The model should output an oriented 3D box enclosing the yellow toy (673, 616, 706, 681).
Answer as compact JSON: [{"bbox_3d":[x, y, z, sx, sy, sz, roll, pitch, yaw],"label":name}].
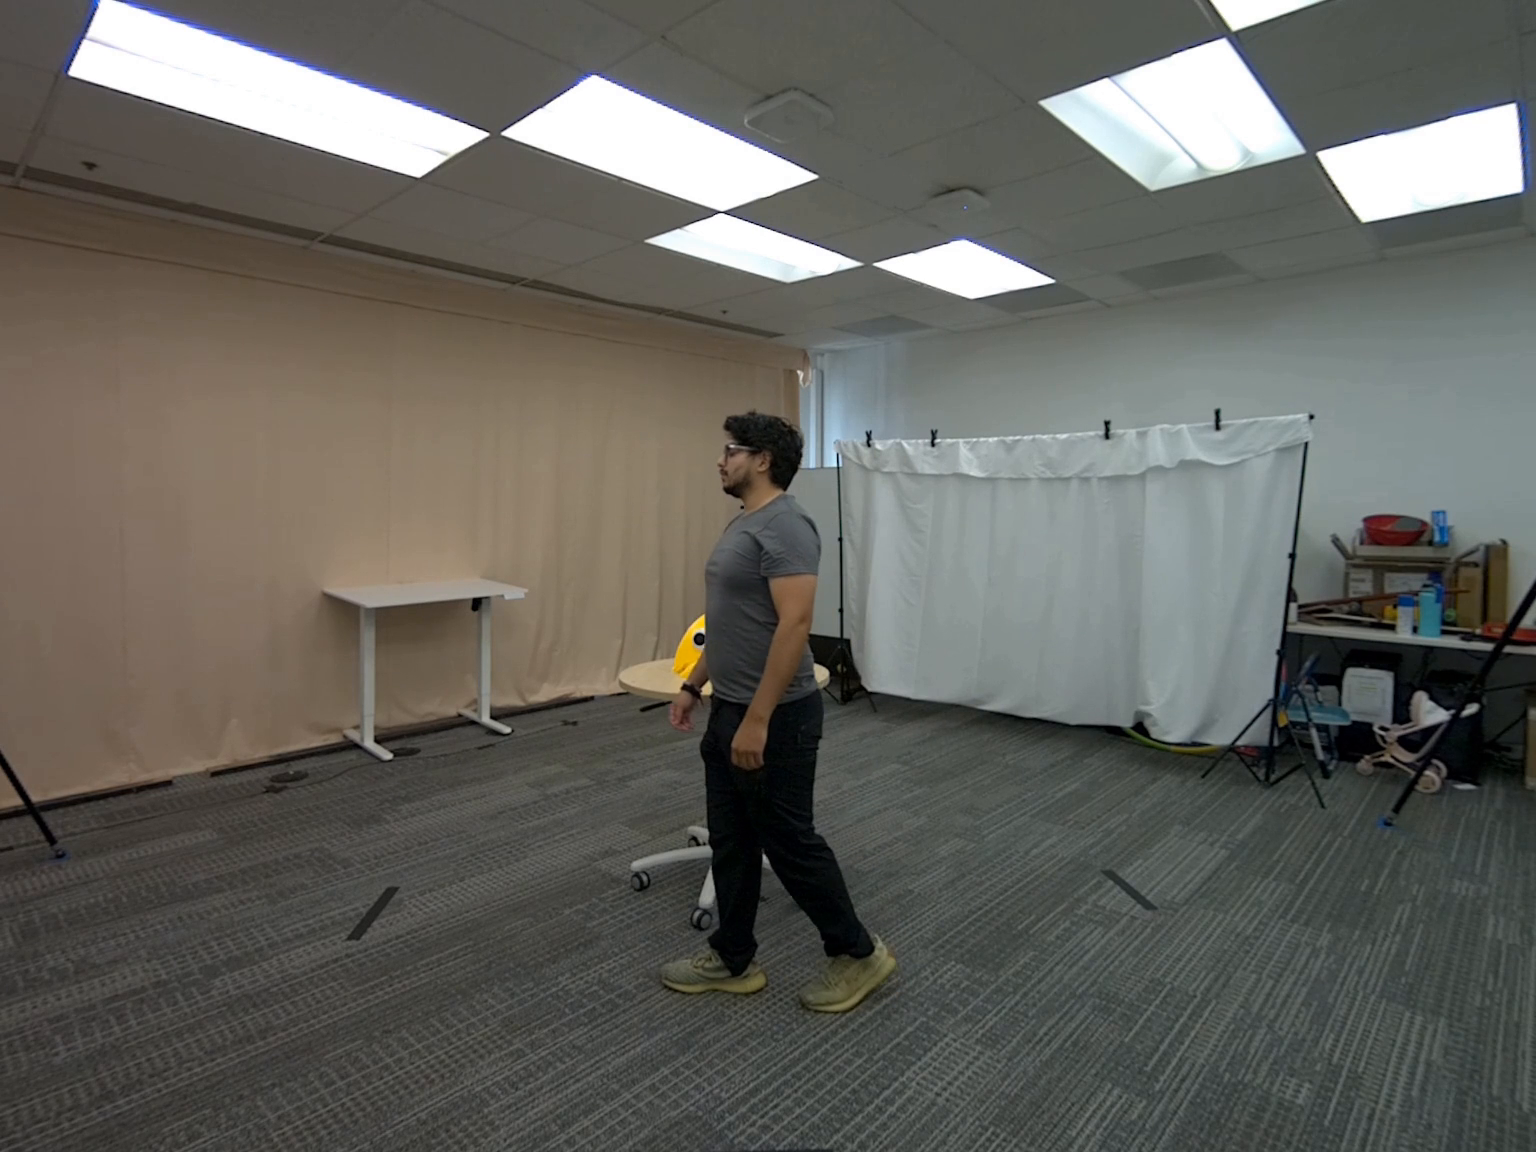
[{"bbox_3d":[-0.249,0.238,3.097,0.189,0.230,0.209,0,3,-19],"label":"yellow toy"}]
